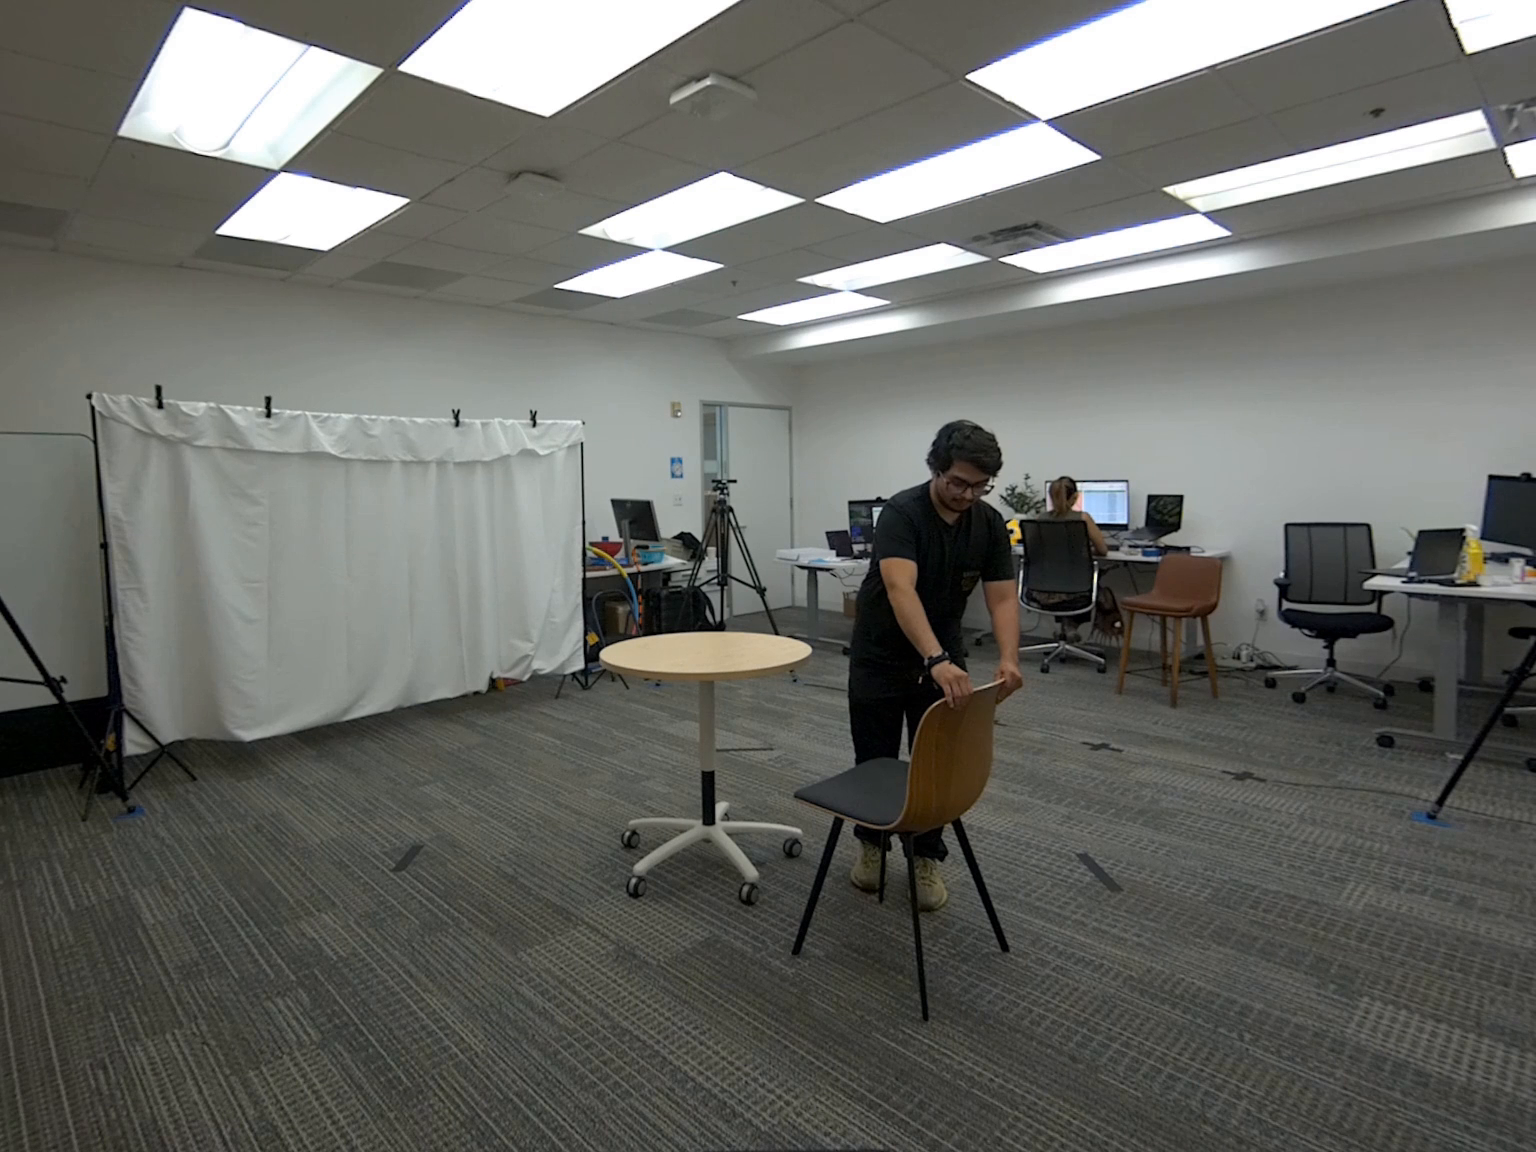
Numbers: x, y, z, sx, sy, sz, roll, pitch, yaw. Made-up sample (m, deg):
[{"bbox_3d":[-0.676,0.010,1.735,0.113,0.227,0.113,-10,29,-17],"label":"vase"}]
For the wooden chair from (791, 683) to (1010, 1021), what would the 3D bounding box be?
[{"bbox_3d":[0.377,0.683,2.477,0.540,0.871,0.466,9,11,43],"label":"wooden chair"}]
